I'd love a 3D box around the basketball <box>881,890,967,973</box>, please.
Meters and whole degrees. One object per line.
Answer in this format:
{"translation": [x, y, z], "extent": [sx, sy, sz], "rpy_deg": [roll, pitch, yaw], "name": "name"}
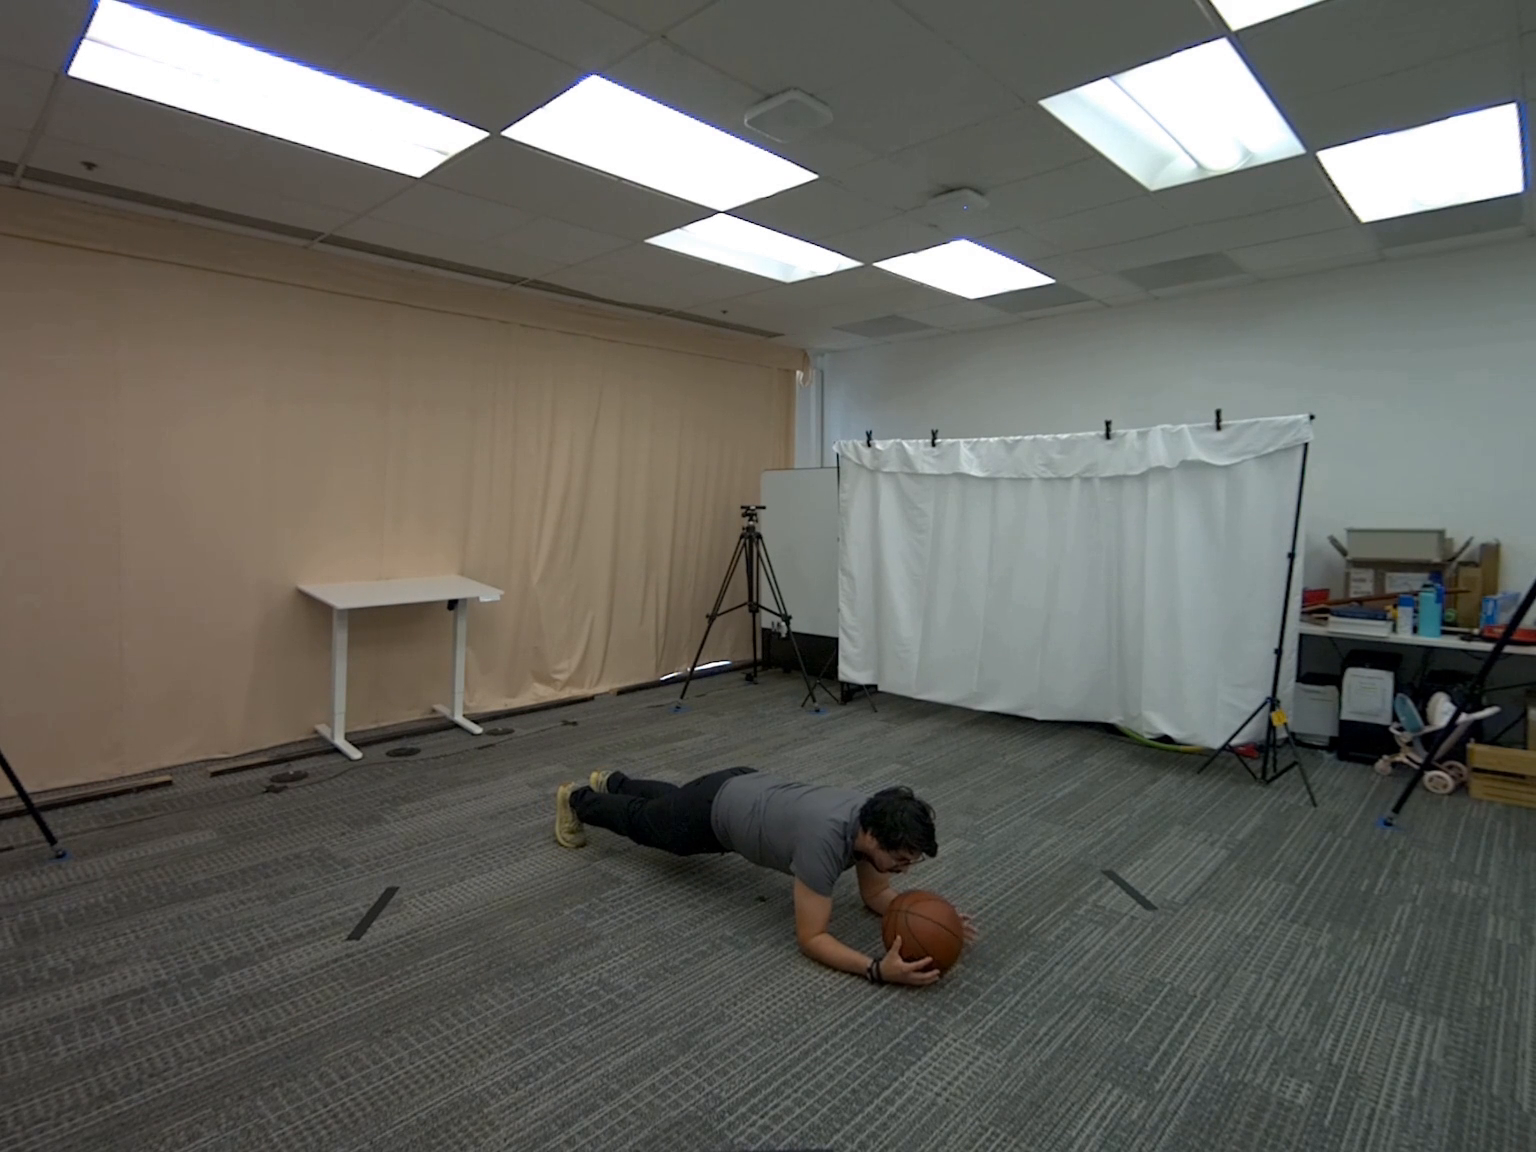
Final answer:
{"translation": [0.461, 1.059, 2.522], "extent": [0.236, 0.235, 0.237], "rpy_deg": [0, 4, -2], "name": "basketball"}
